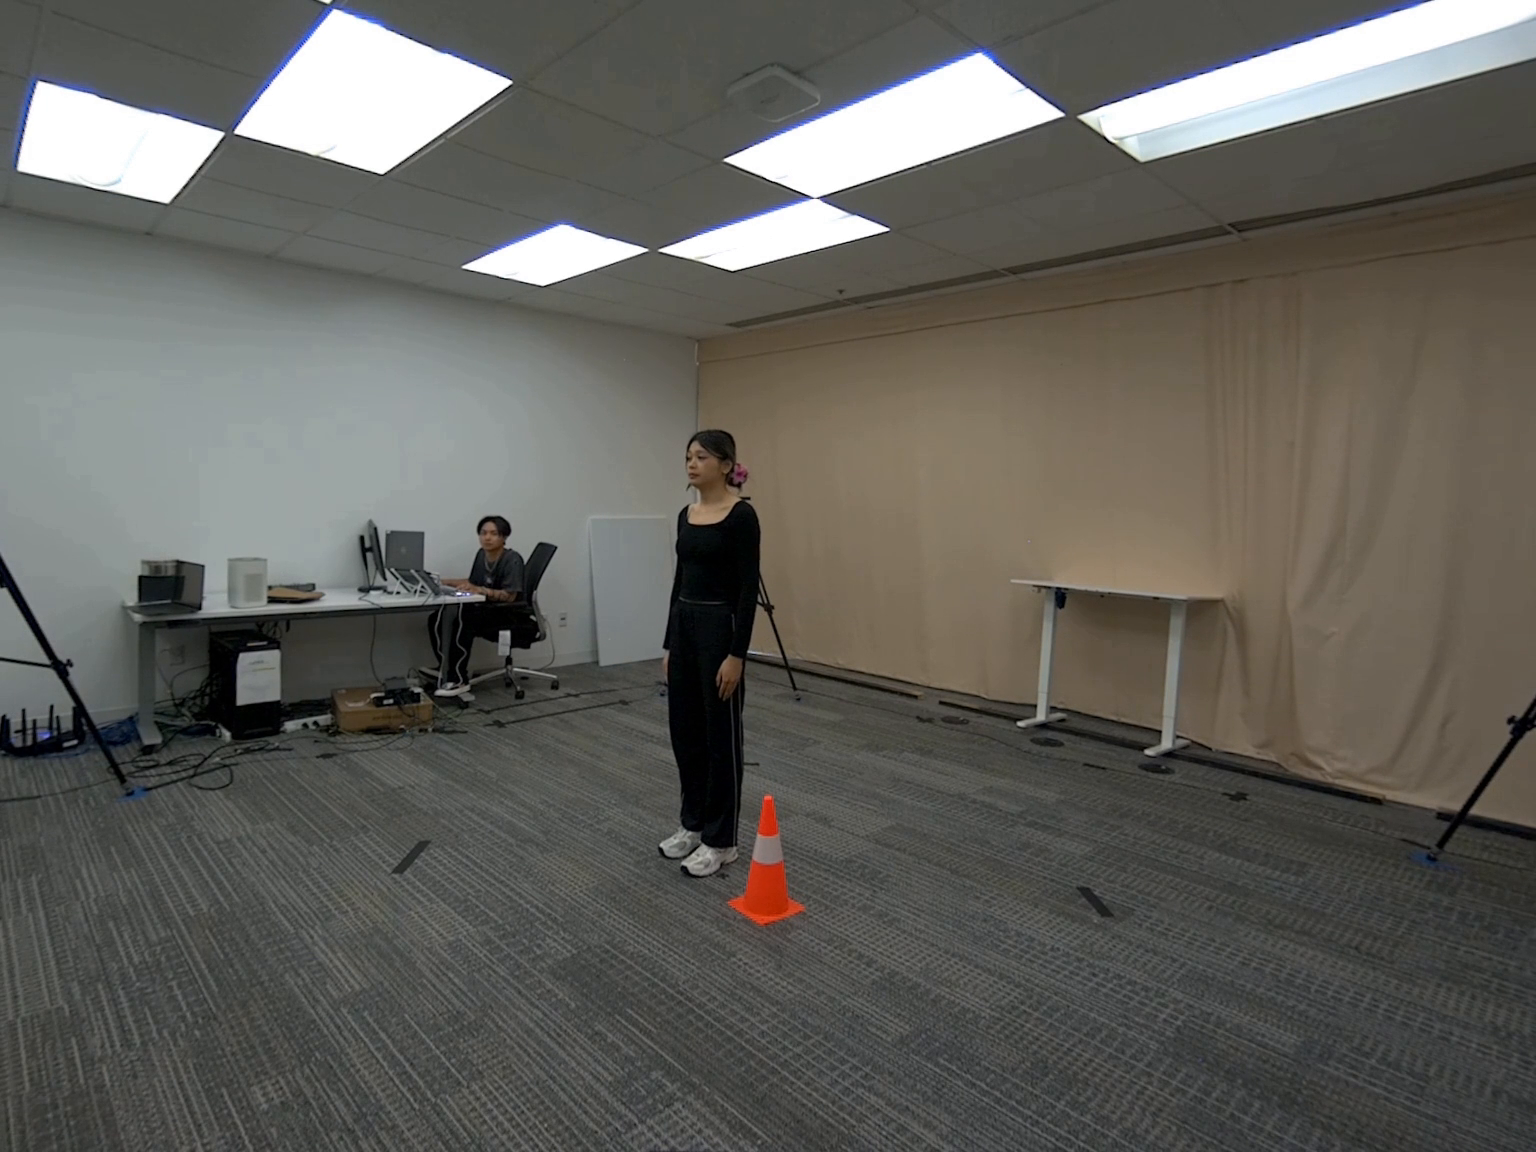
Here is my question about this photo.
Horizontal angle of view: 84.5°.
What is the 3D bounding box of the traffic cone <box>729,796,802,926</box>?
[{"bbox_3d":[-0.014,0.947,2.867,0.201,0.382,0.208,-2,5,-34],"label":"traffic cone"}]
